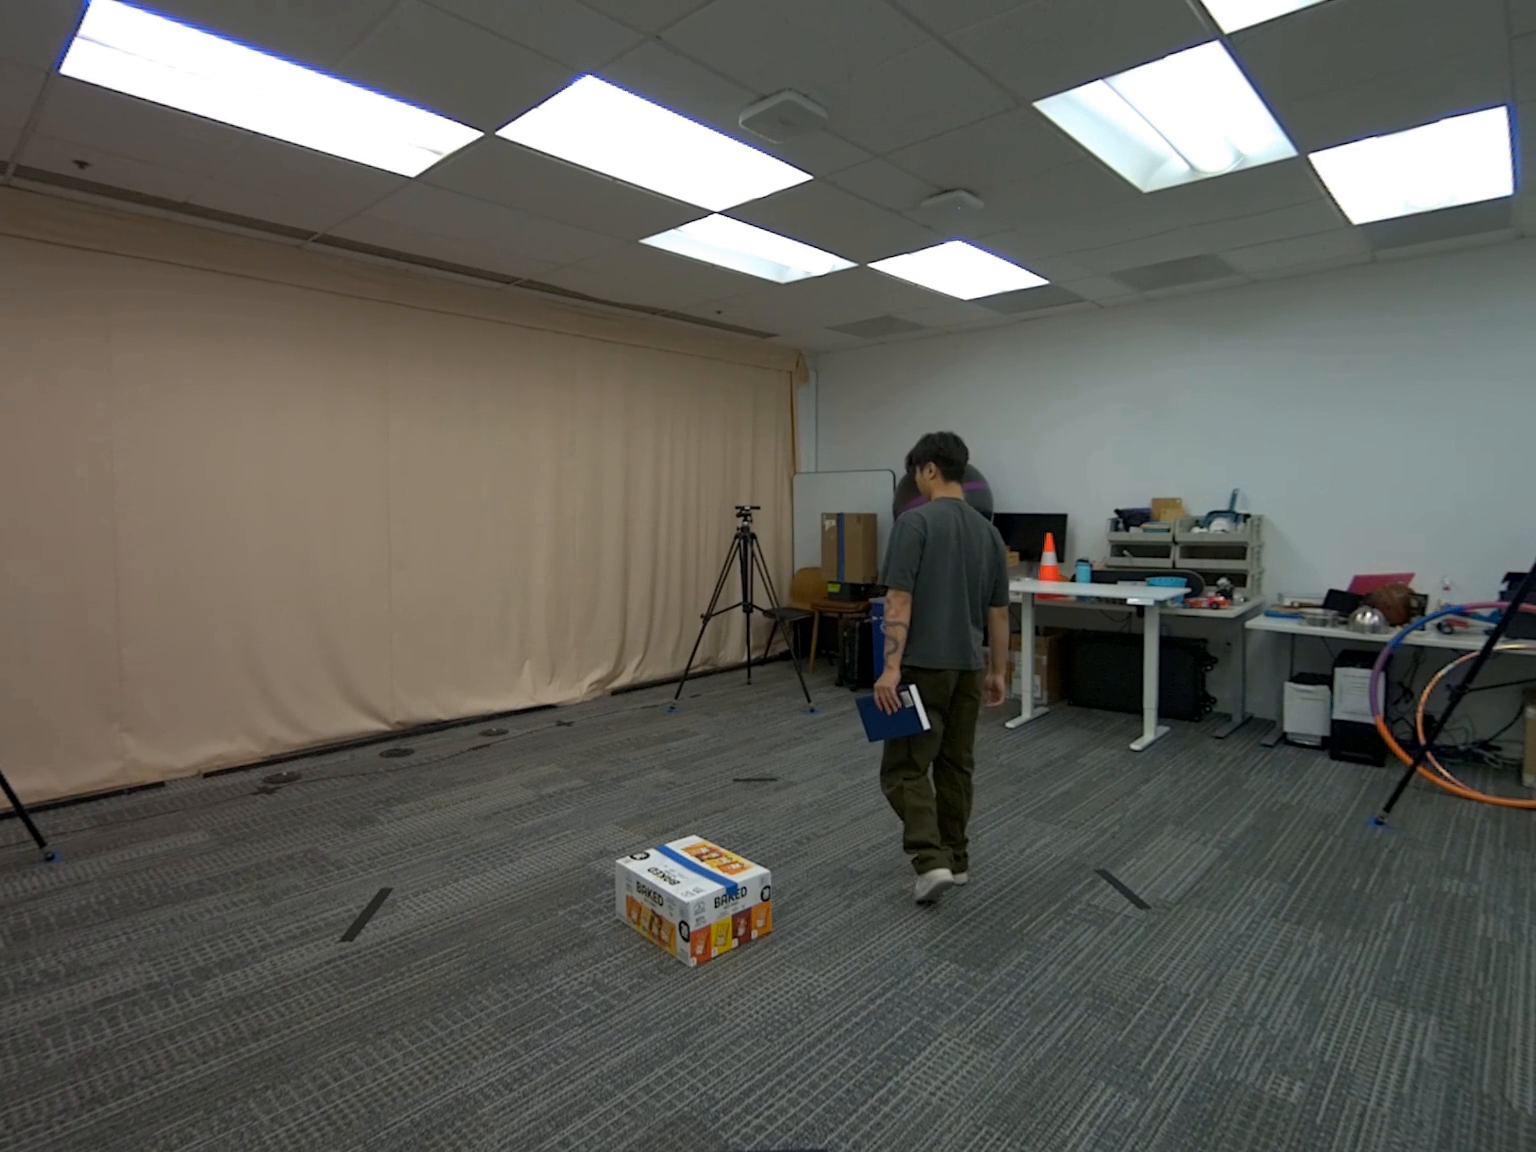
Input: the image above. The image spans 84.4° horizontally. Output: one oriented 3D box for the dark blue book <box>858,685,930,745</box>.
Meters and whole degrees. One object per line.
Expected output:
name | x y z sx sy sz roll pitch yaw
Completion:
dark blue book | 0.443 0.480 2.938 0.044 0.165 0.250 -7 -12 -45
